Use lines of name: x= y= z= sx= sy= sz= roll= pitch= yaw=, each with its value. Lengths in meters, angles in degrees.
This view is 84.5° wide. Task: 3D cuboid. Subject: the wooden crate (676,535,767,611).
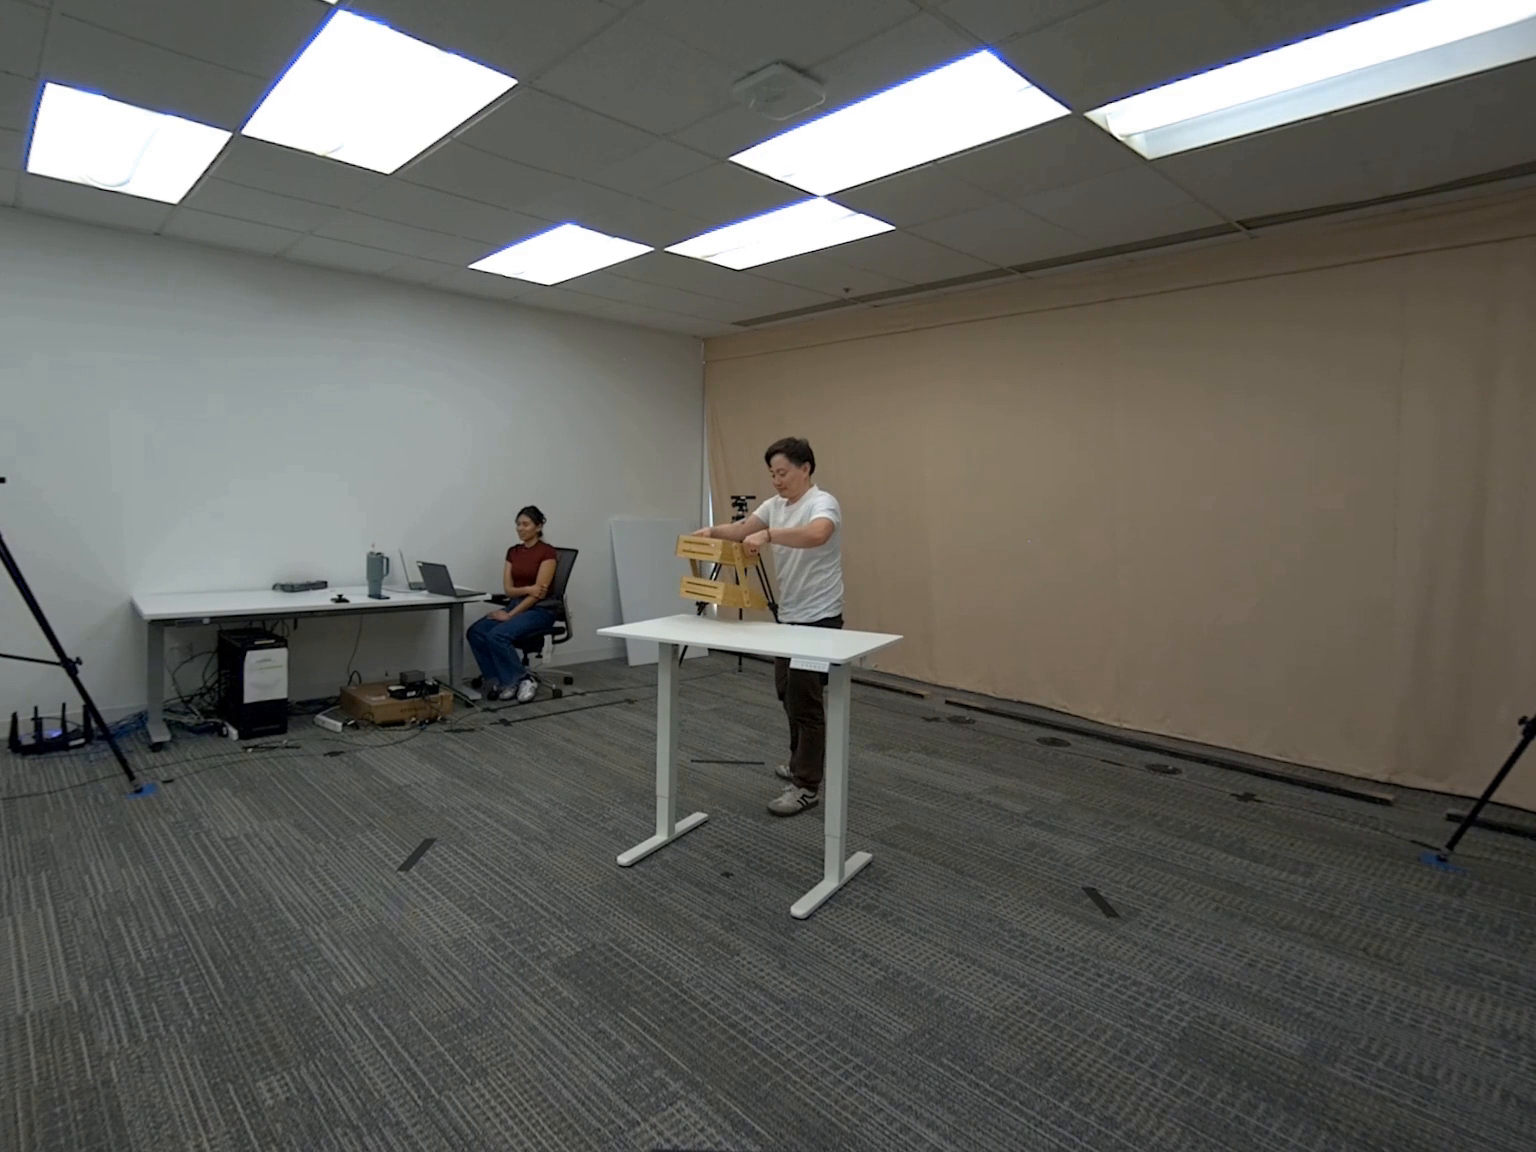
wooden crate: x=-0.201 y=-0.015 z=3.562 sx=0.294 sy=0.273 sz=0.333 roll=10 pitch=-1 yaw=-42
